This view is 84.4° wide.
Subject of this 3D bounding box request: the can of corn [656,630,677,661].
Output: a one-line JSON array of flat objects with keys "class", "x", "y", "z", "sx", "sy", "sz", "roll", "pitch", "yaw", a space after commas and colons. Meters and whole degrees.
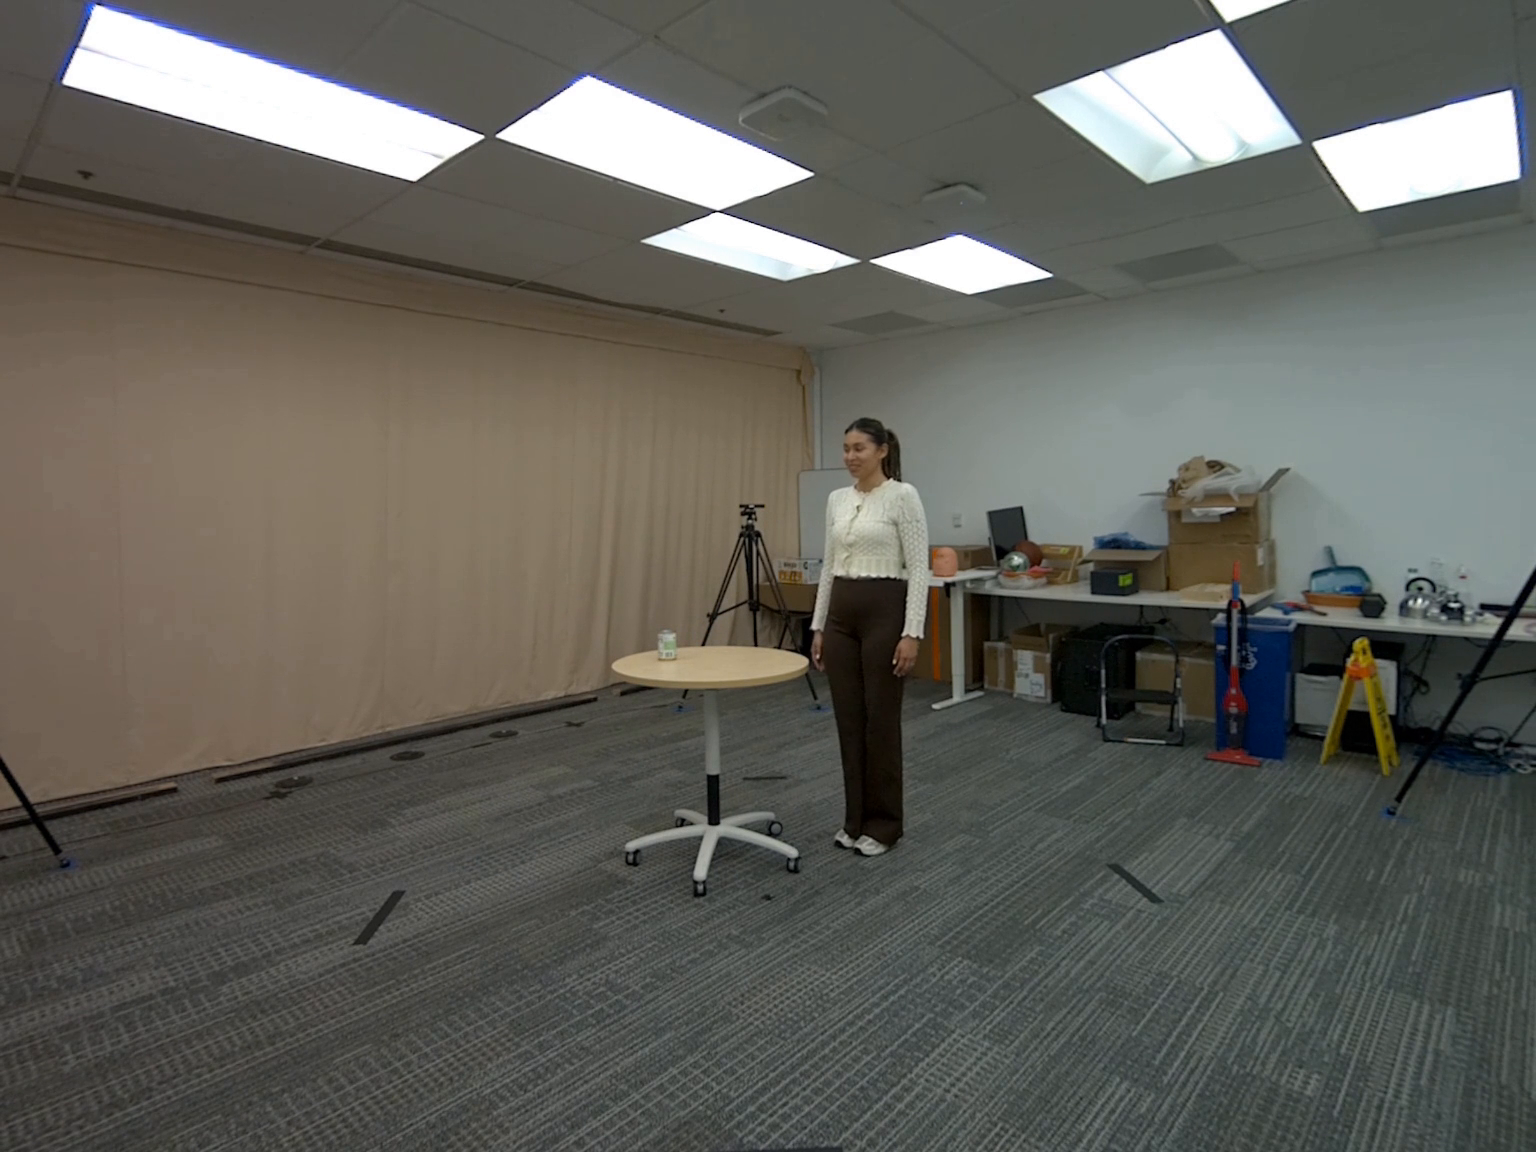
[{"class": "can of corn", "x": -0.401, "y": 0.281, "z": 3.361, "sx": 0.074, "sy": 0.111, "sz": 0.074, "roll": -1, "pitch": 1, "yaw": -2}]
